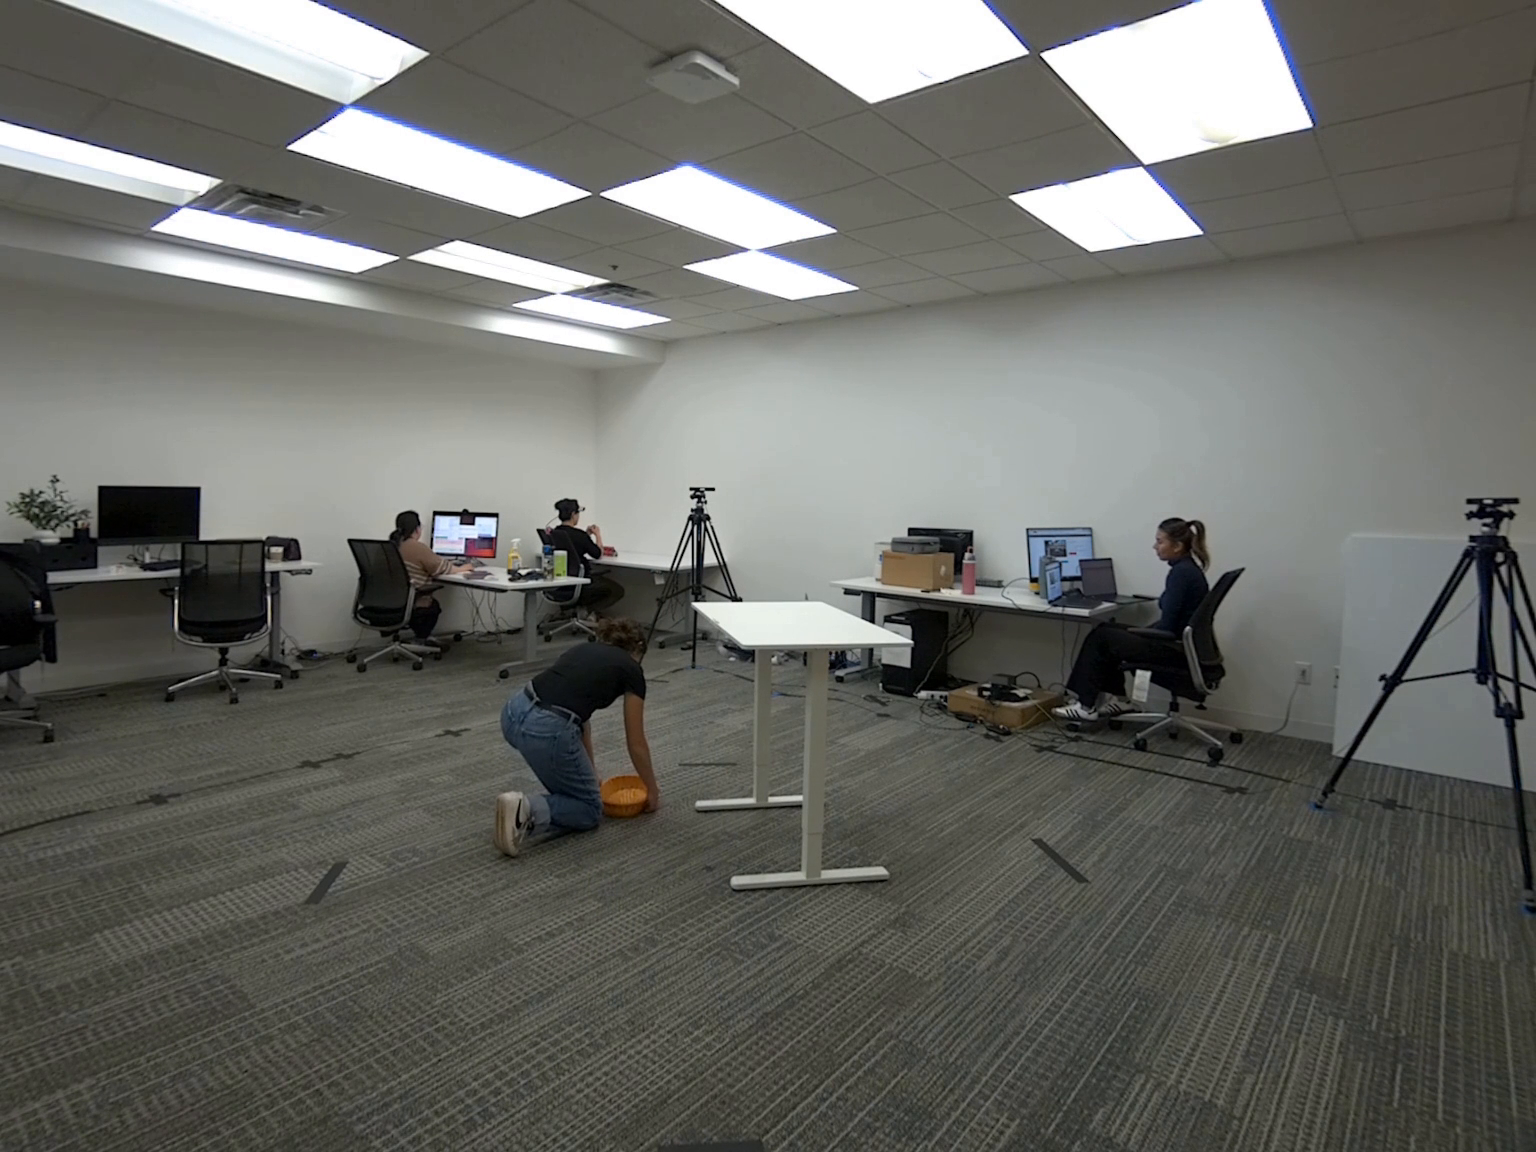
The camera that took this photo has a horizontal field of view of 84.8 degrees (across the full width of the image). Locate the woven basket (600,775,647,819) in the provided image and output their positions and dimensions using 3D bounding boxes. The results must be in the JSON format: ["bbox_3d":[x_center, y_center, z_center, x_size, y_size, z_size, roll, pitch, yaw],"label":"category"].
[{"bbox_3d":[-0.624,0.957,3.707,0.255,0.073,0.348,2,7,9],"label":"woven basket"}]
